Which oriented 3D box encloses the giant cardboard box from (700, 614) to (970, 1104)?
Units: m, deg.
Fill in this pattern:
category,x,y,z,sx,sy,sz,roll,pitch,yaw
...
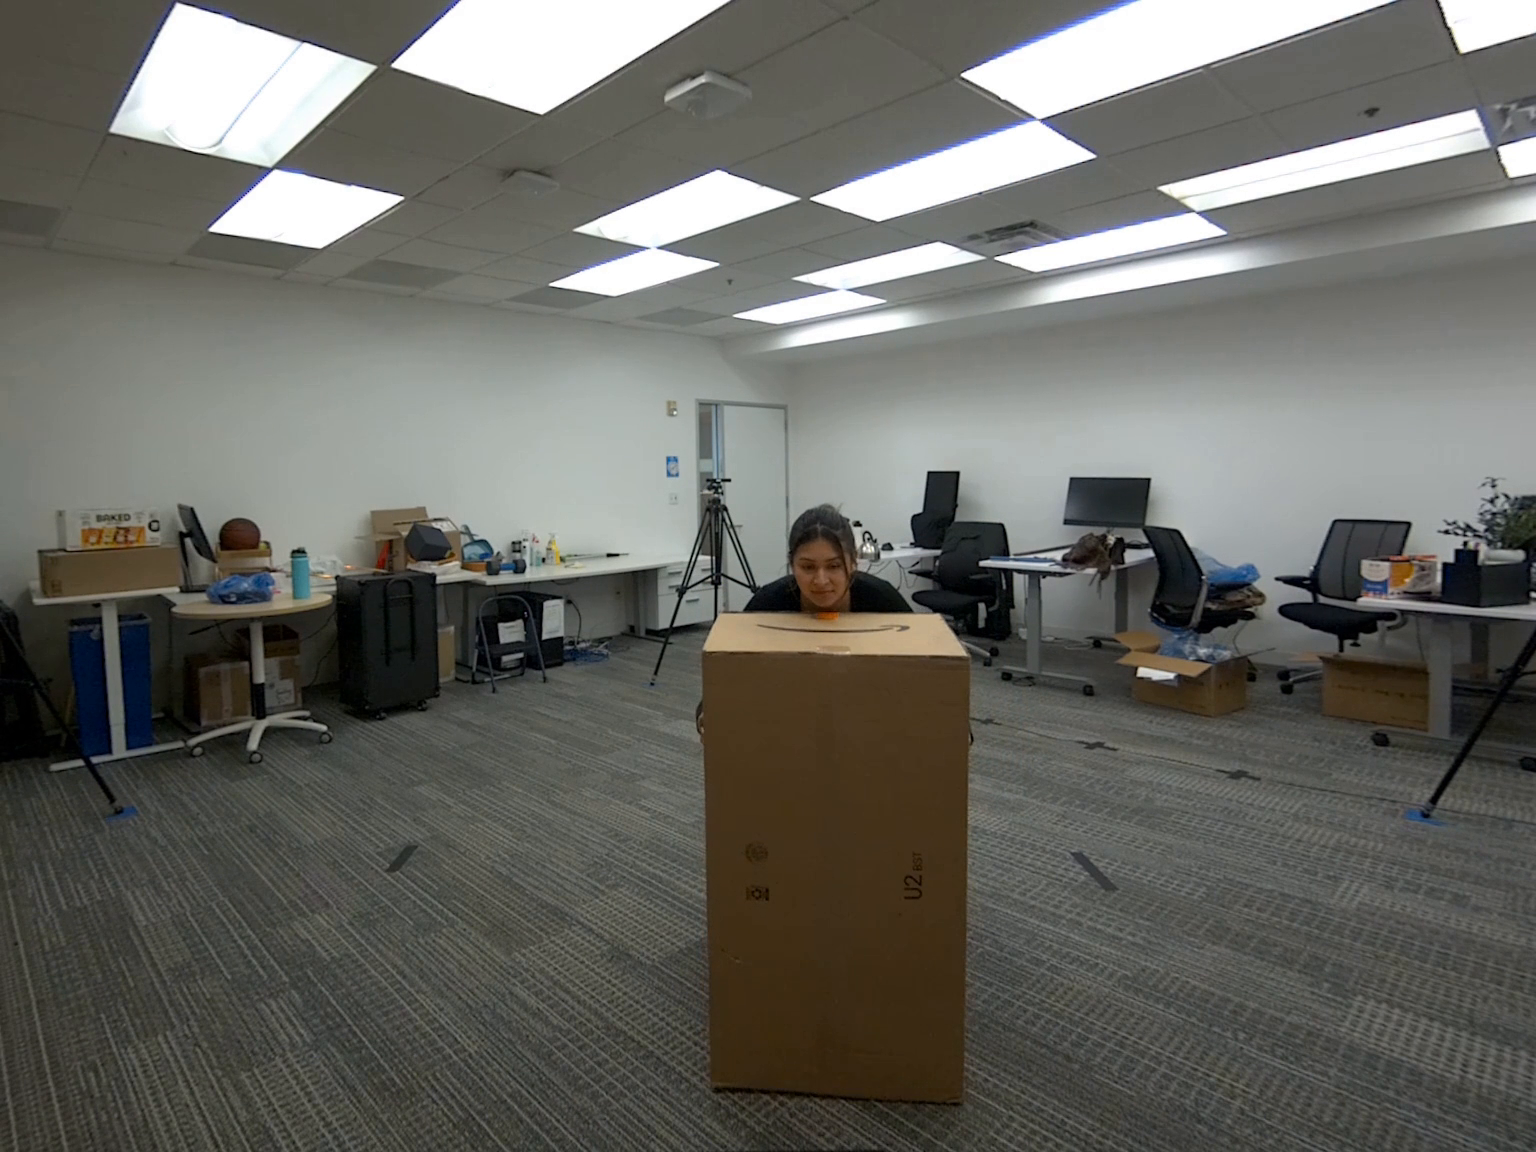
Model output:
category,x,y,z,sx,sy,sz,roll,pitch,yaw
giant cardboard box,0.162,0.635,2.078,0.580,1.020,0.427,0,6,3
